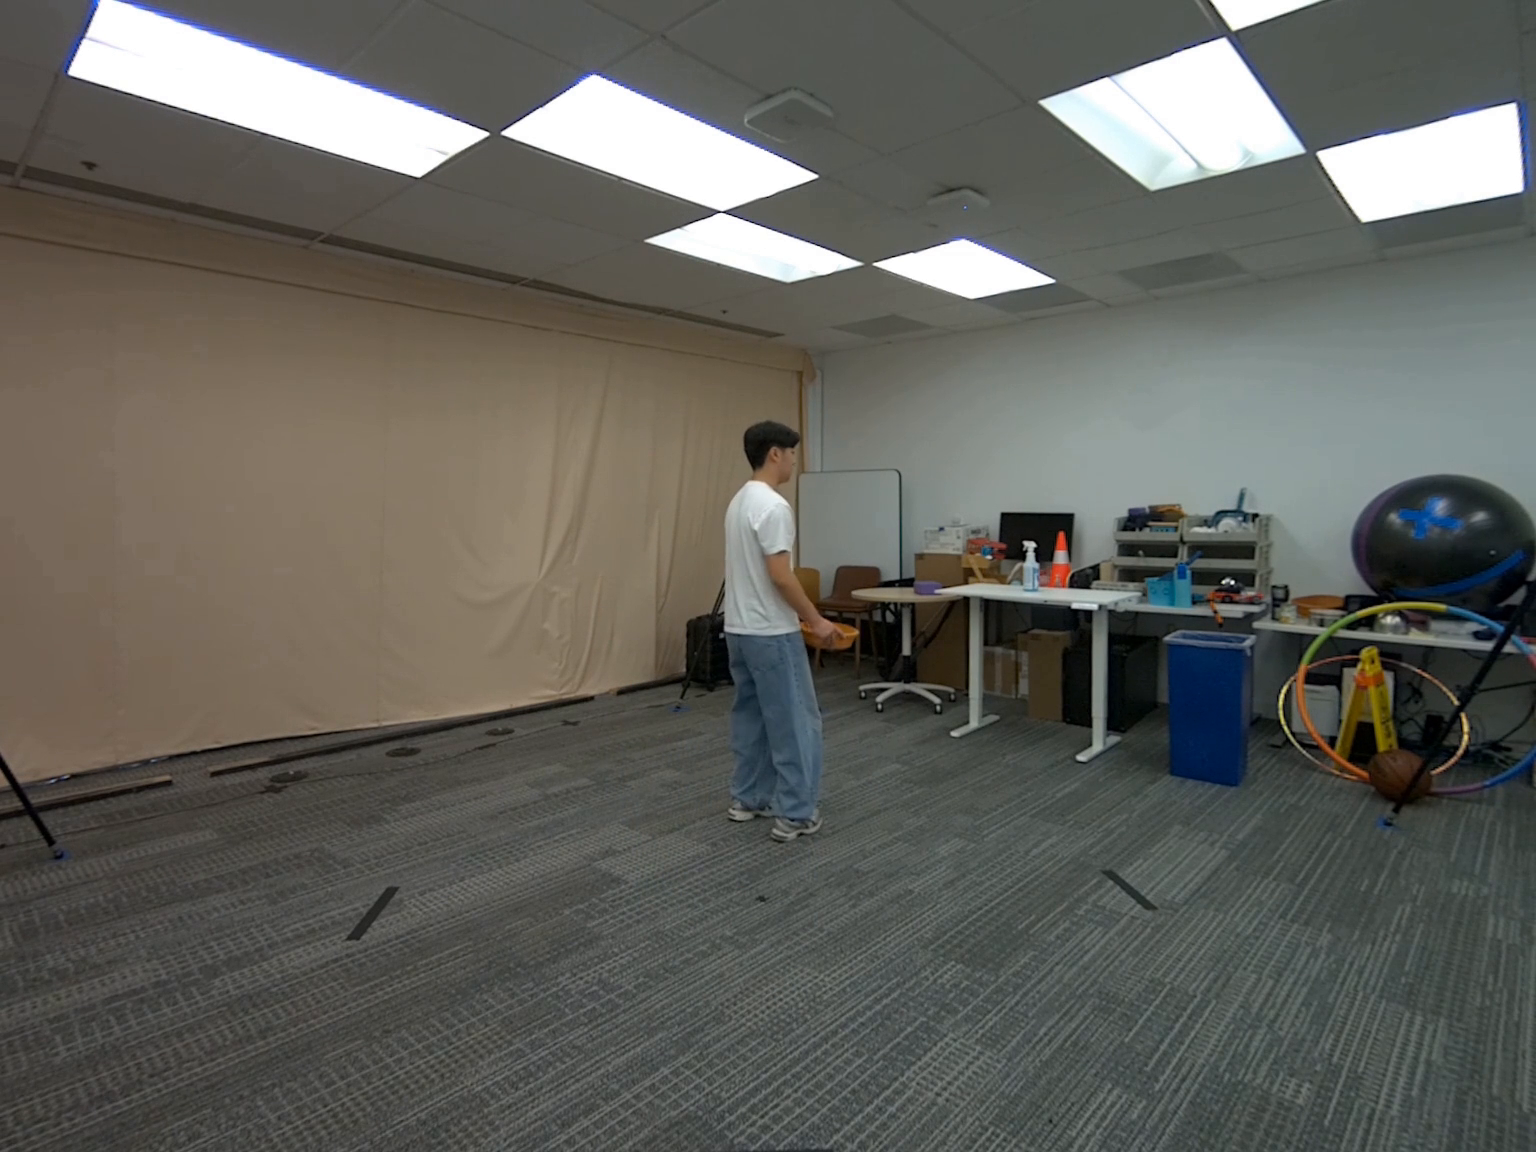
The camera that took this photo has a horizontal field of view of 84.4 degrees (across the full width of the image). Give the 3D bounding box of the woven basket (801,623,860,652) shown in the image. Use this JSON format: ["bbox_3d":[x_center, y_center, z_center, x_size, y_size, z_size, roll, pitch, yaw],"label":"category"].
[{"bbox_3d":[0.241,0.260,3.668,0.248,0.073,0.358,1,7,-18],"label":"woven basket"}]
